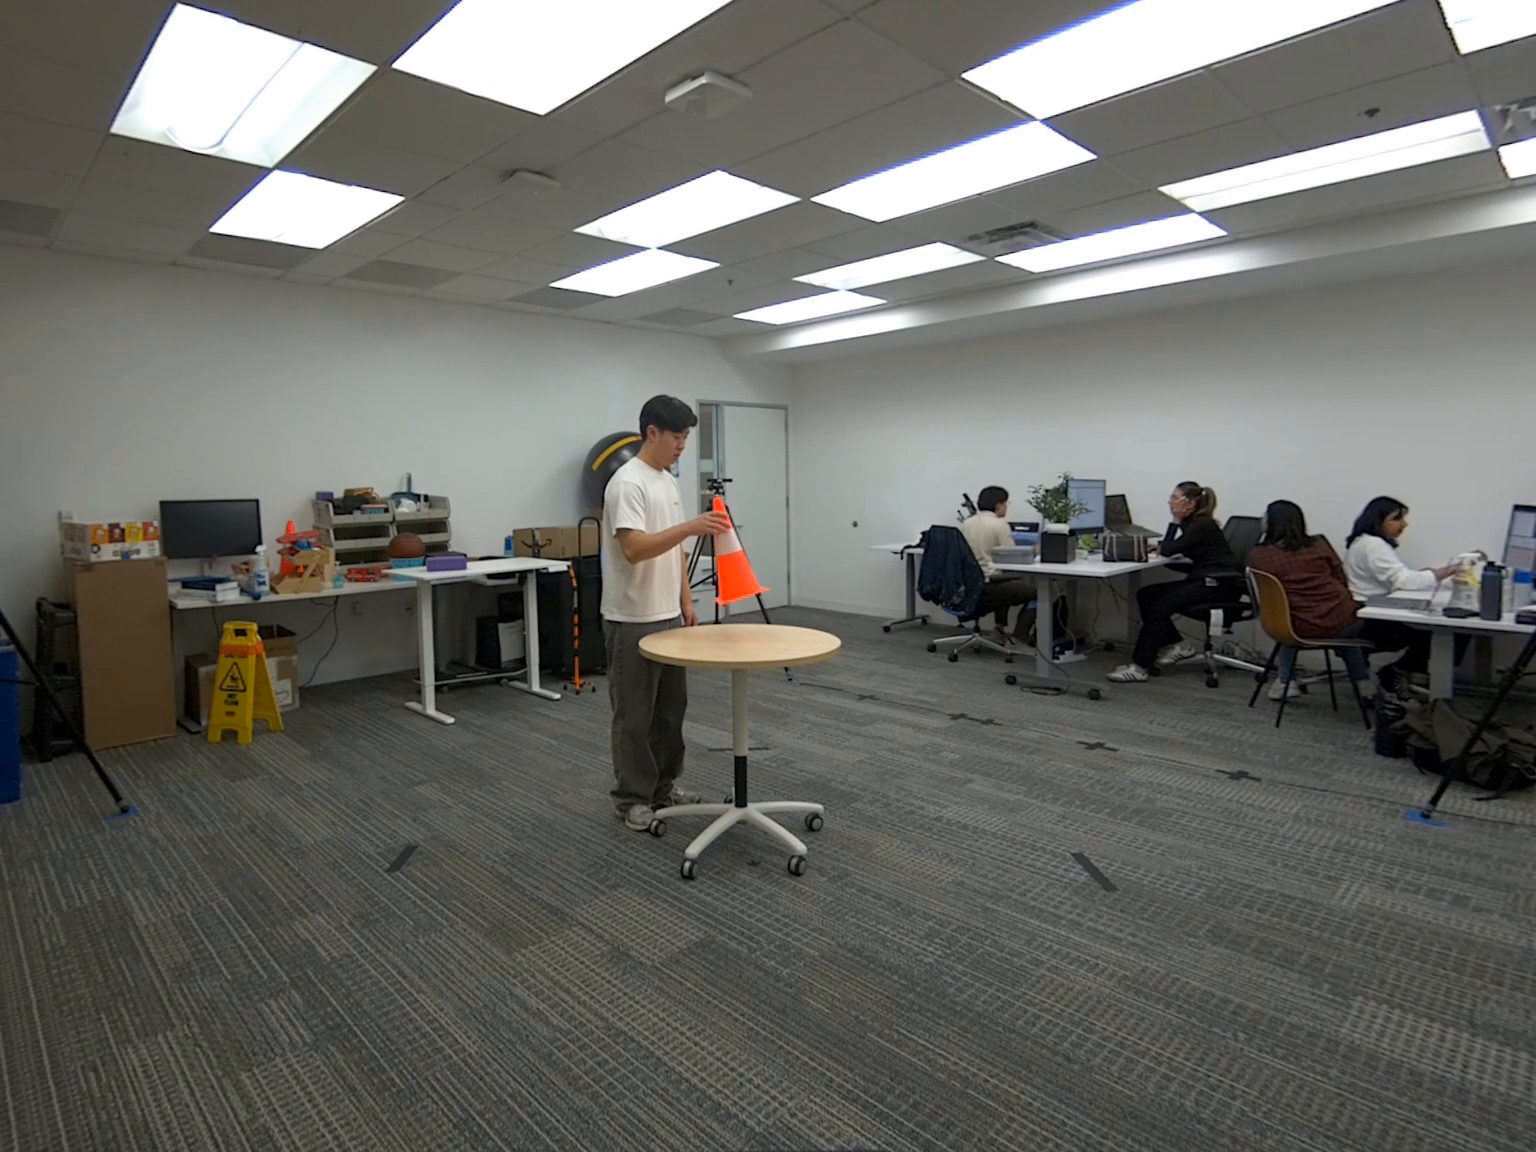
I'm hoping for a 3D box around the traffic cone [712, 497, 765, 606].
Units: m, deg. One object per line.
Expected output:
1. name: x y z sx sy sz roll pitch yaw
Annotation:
1. traffic cone: -0.159 -0.099 3.257 0.205 0.382 0.203 -12 3 14
